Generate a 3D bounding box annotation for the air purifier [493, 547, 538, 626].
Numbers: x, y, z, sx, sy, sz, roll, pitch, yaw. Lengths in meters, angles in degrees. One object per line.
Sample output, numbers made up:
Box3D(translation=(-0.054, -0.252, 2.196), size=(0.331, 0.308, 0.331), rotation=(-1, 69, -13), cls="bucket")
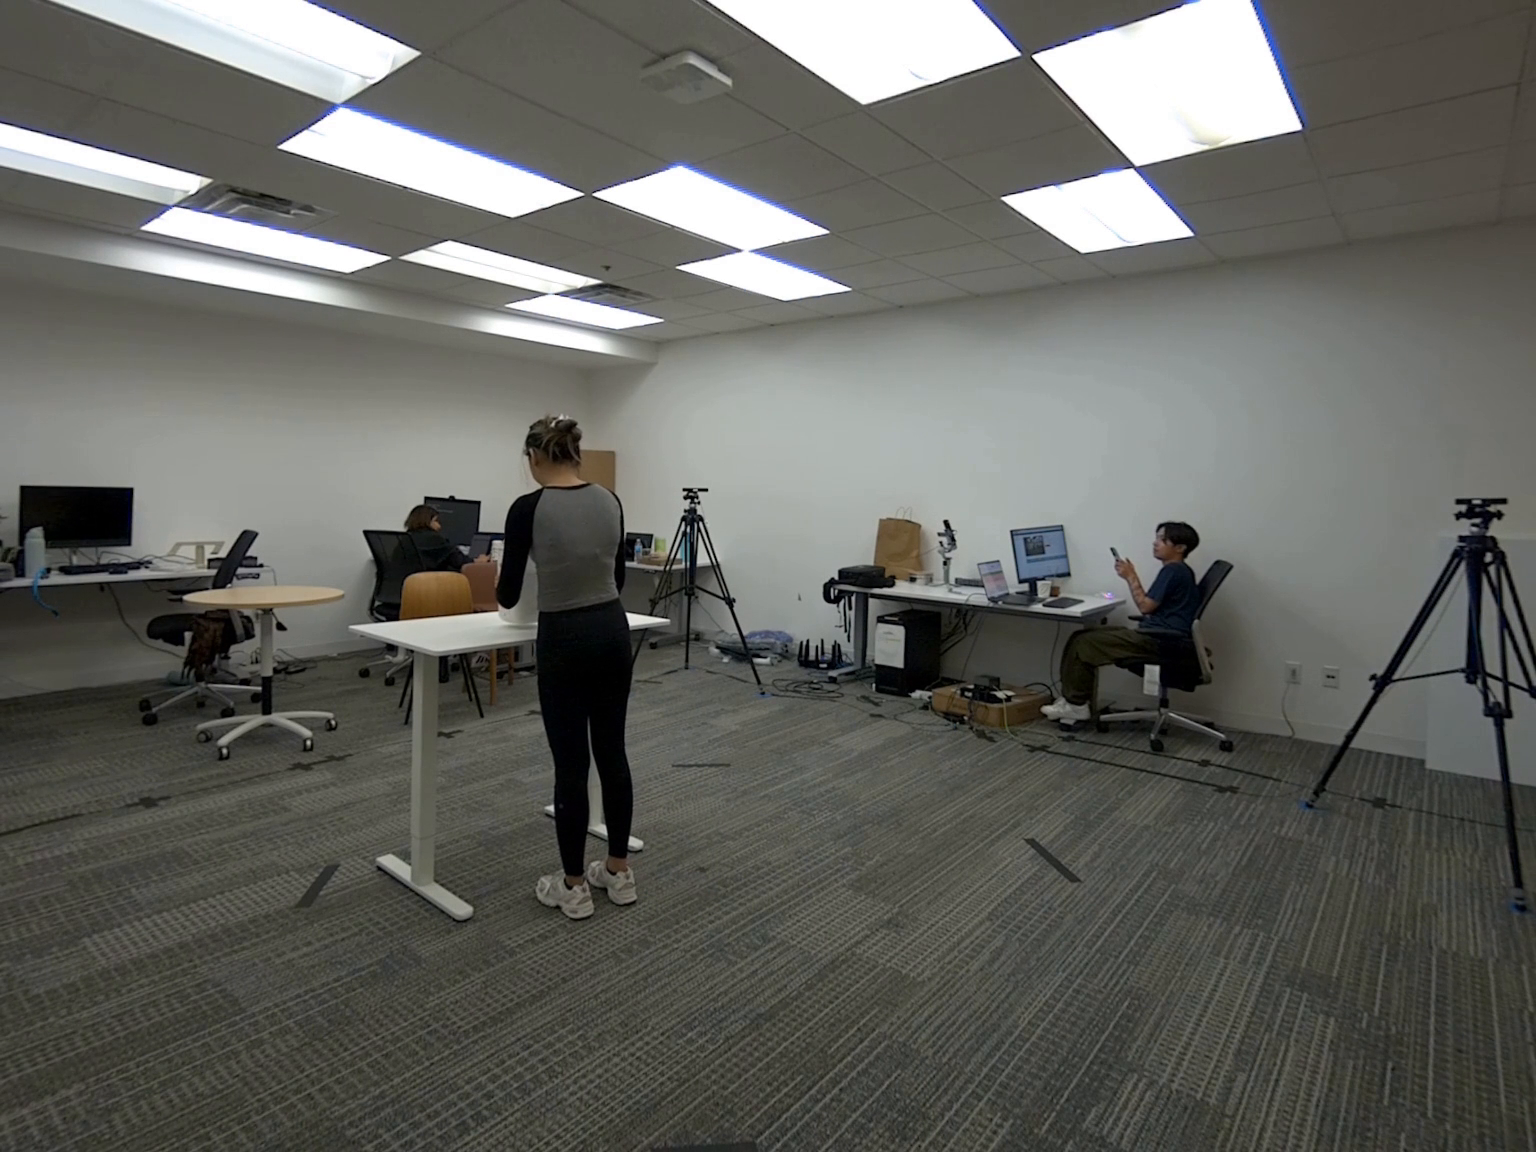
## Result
Box3D(translation=(-0.881, 0.029, 3.063), size=(0.177, 0.264, 0.166), rotation=(4, 5, 44), cls="air purifier")
